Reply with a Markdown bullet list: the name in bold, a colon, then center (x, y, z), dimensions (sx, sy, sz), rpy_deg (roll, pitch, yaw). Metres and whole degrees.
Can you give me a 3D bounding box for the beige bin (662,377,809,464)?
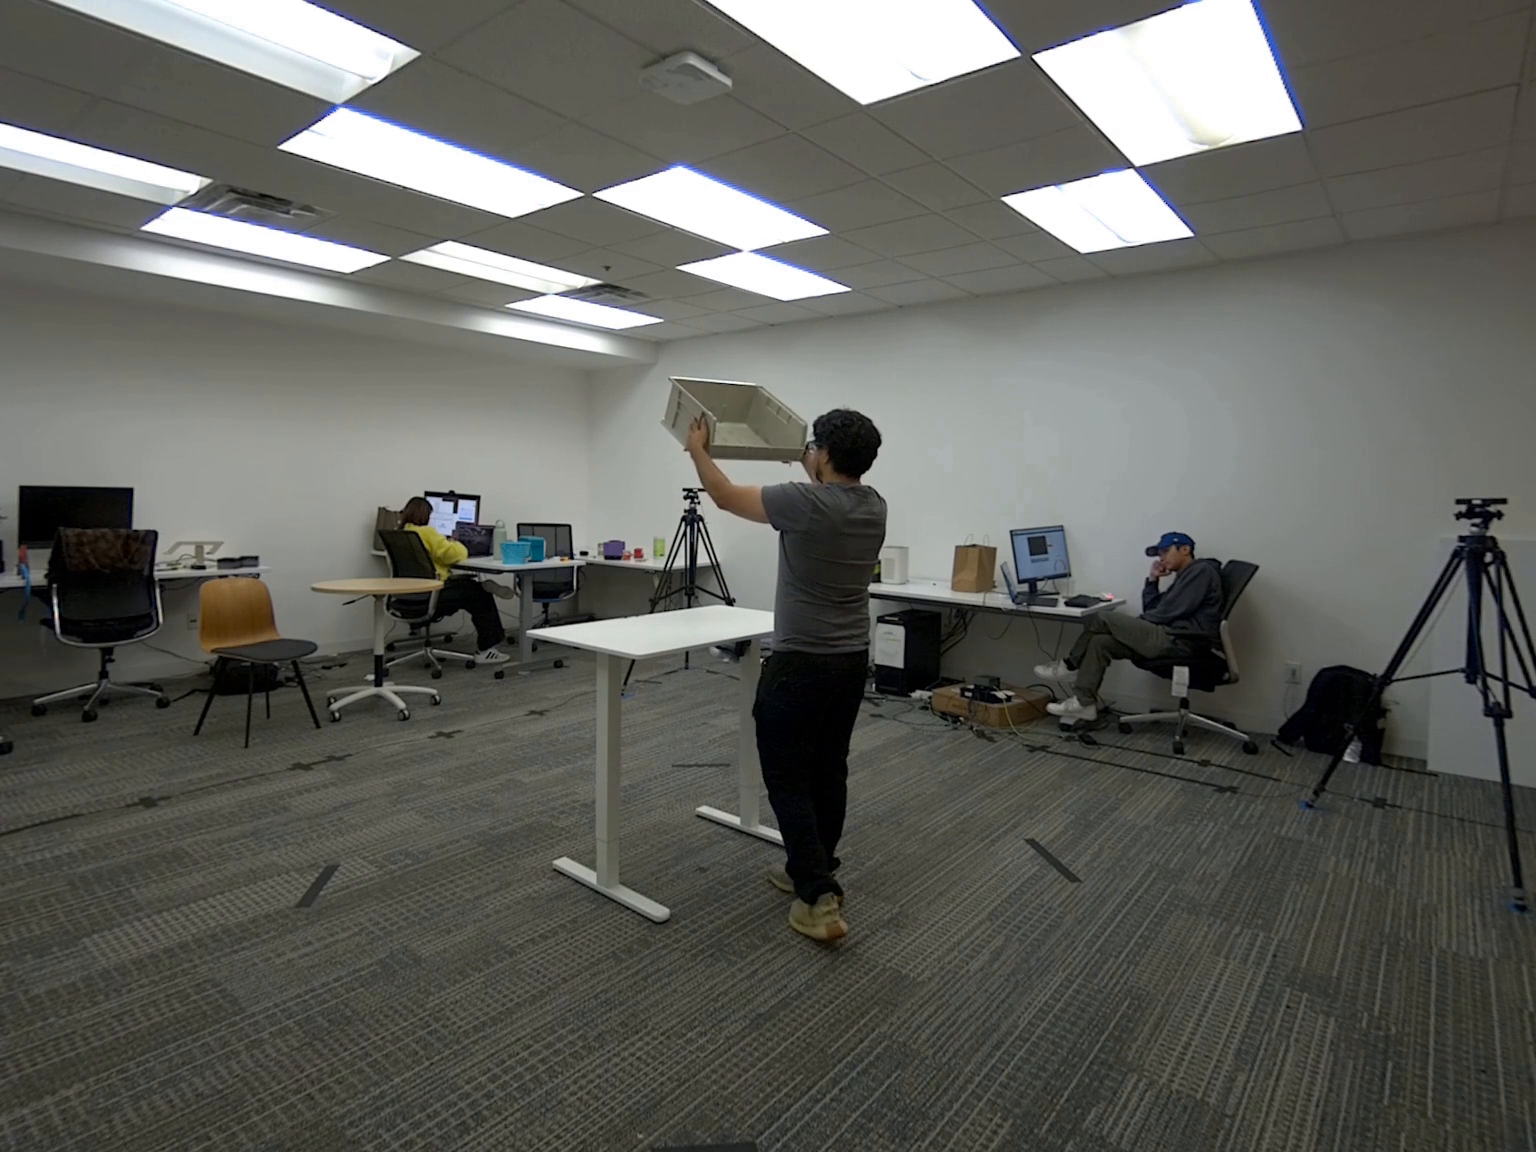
- **beige bin**: center (-0.138, -0.565, 3.164), dimensions (0.410, 0.186, 0.394), rpy_deg (-4, 34, -34)
